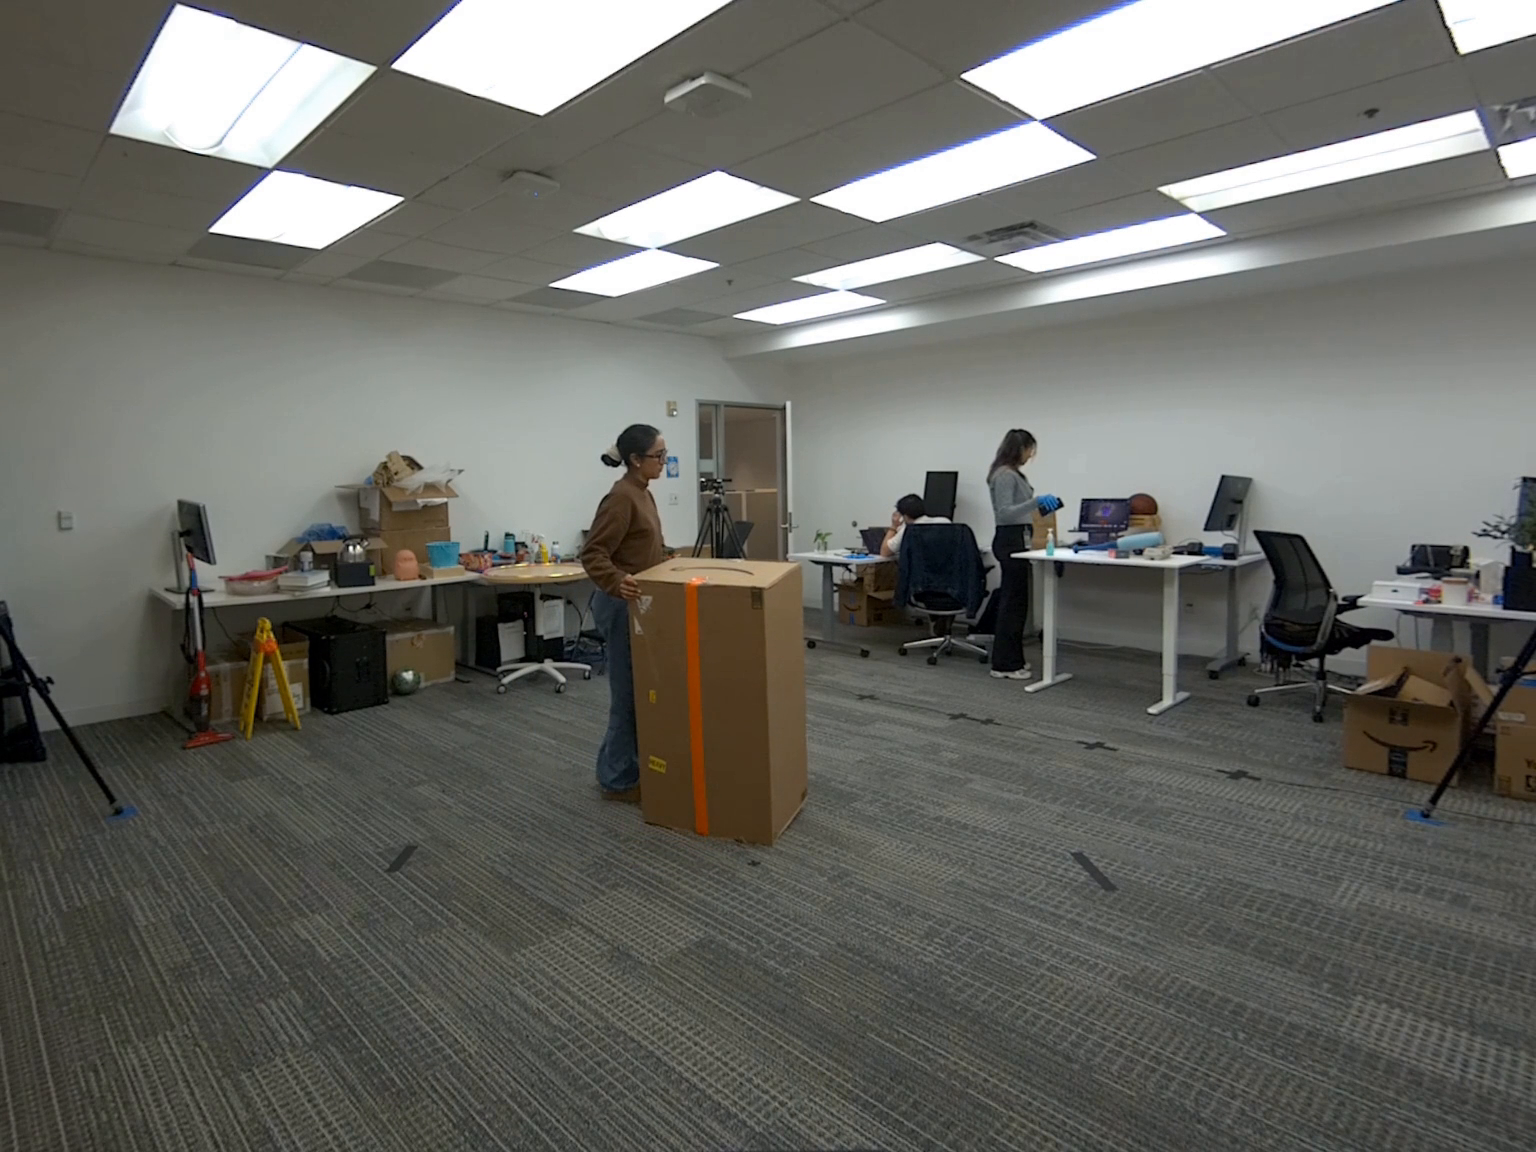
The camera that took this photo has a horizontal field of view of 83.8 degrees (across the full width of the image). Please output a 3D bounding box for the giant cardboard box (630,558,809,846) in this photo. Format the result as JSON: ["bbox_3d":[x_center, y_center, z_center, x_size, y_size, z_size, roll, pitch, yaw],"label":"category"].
[{"bbox_3d":[-0.184,0.479,3.458,0.591,1.016,0.420,3,11,24],"label":"giant cardboard box"}]
